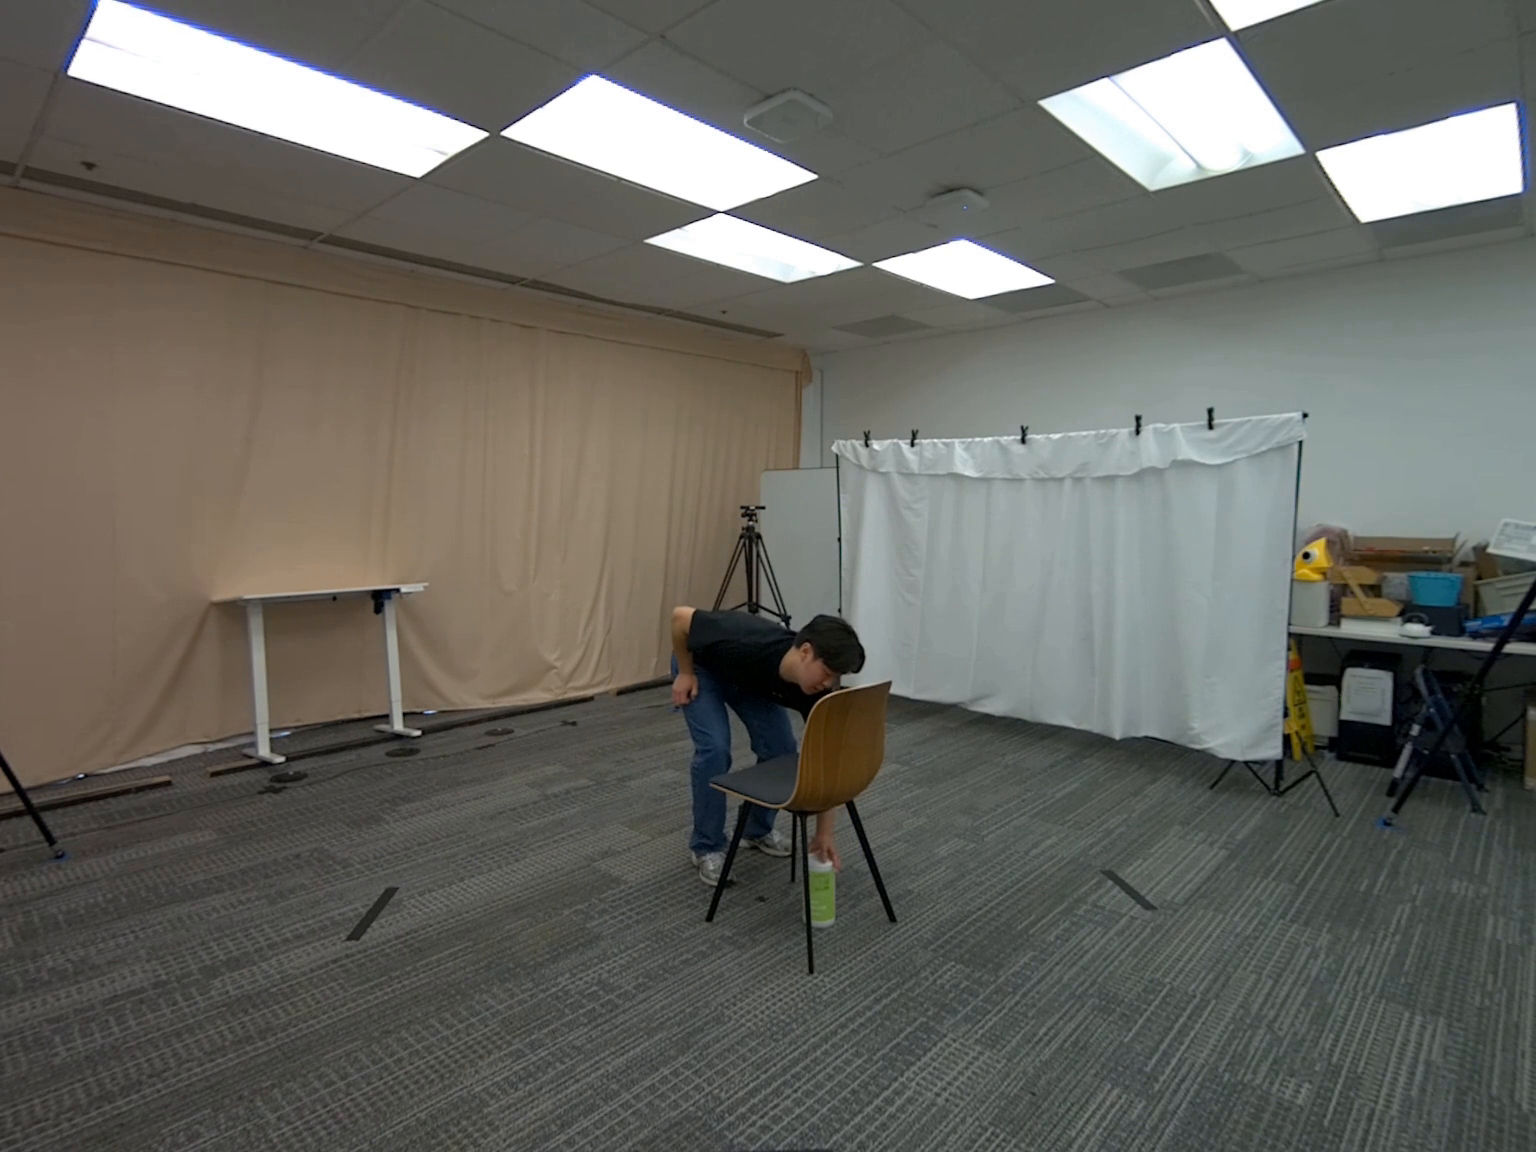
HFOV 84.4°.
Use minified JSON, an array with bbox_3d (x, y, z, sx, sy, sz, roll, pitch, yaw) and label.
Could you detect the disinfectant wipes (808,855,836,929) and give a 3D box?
[{"bbox_3d":[0.174,1.053,2.820,0.118,0.217,0.118,-2,5,-2],"label":"disinfectant wipes"}]
